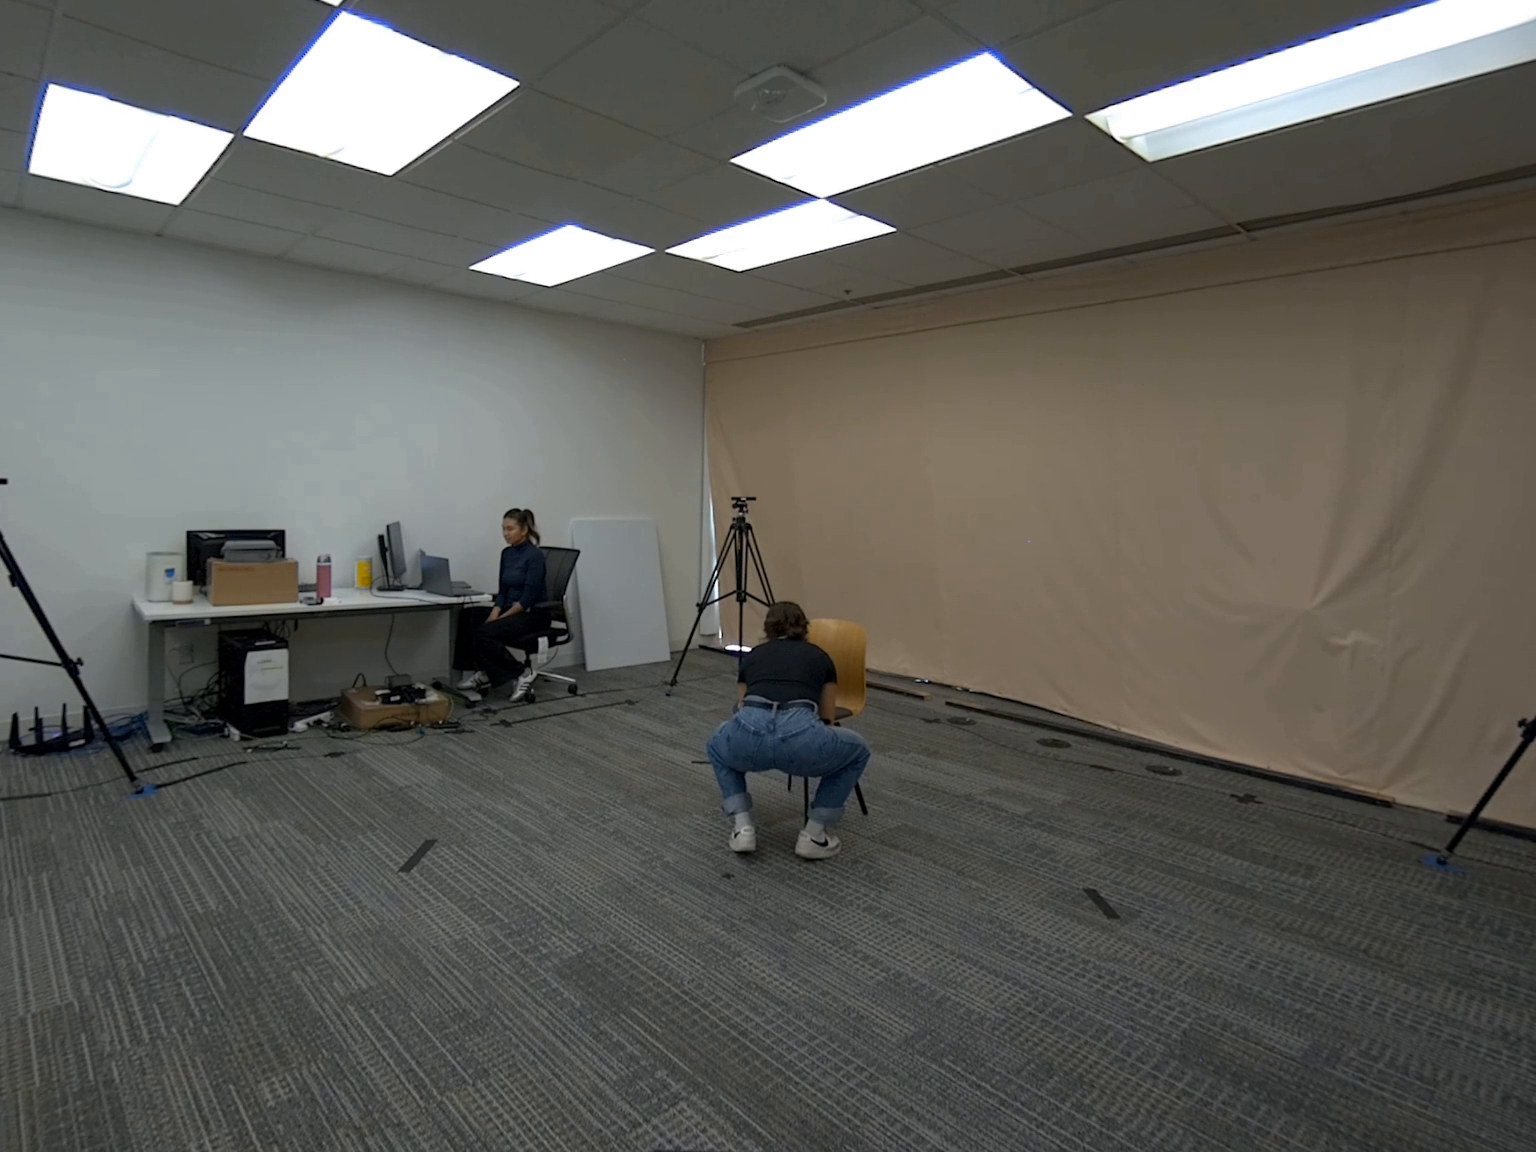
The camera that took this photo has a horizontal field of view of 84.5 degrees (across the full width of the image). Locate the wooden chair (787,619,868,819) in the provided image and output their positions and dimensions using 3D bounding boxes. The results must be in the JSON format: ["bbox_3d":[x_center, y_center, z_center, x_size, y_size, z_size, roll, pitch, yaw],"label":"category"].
[{"bbox_3d":[0.136,0.629,3.712,0.490,0.877,0.510,4,1,41],"label":"wooden chair"}]
